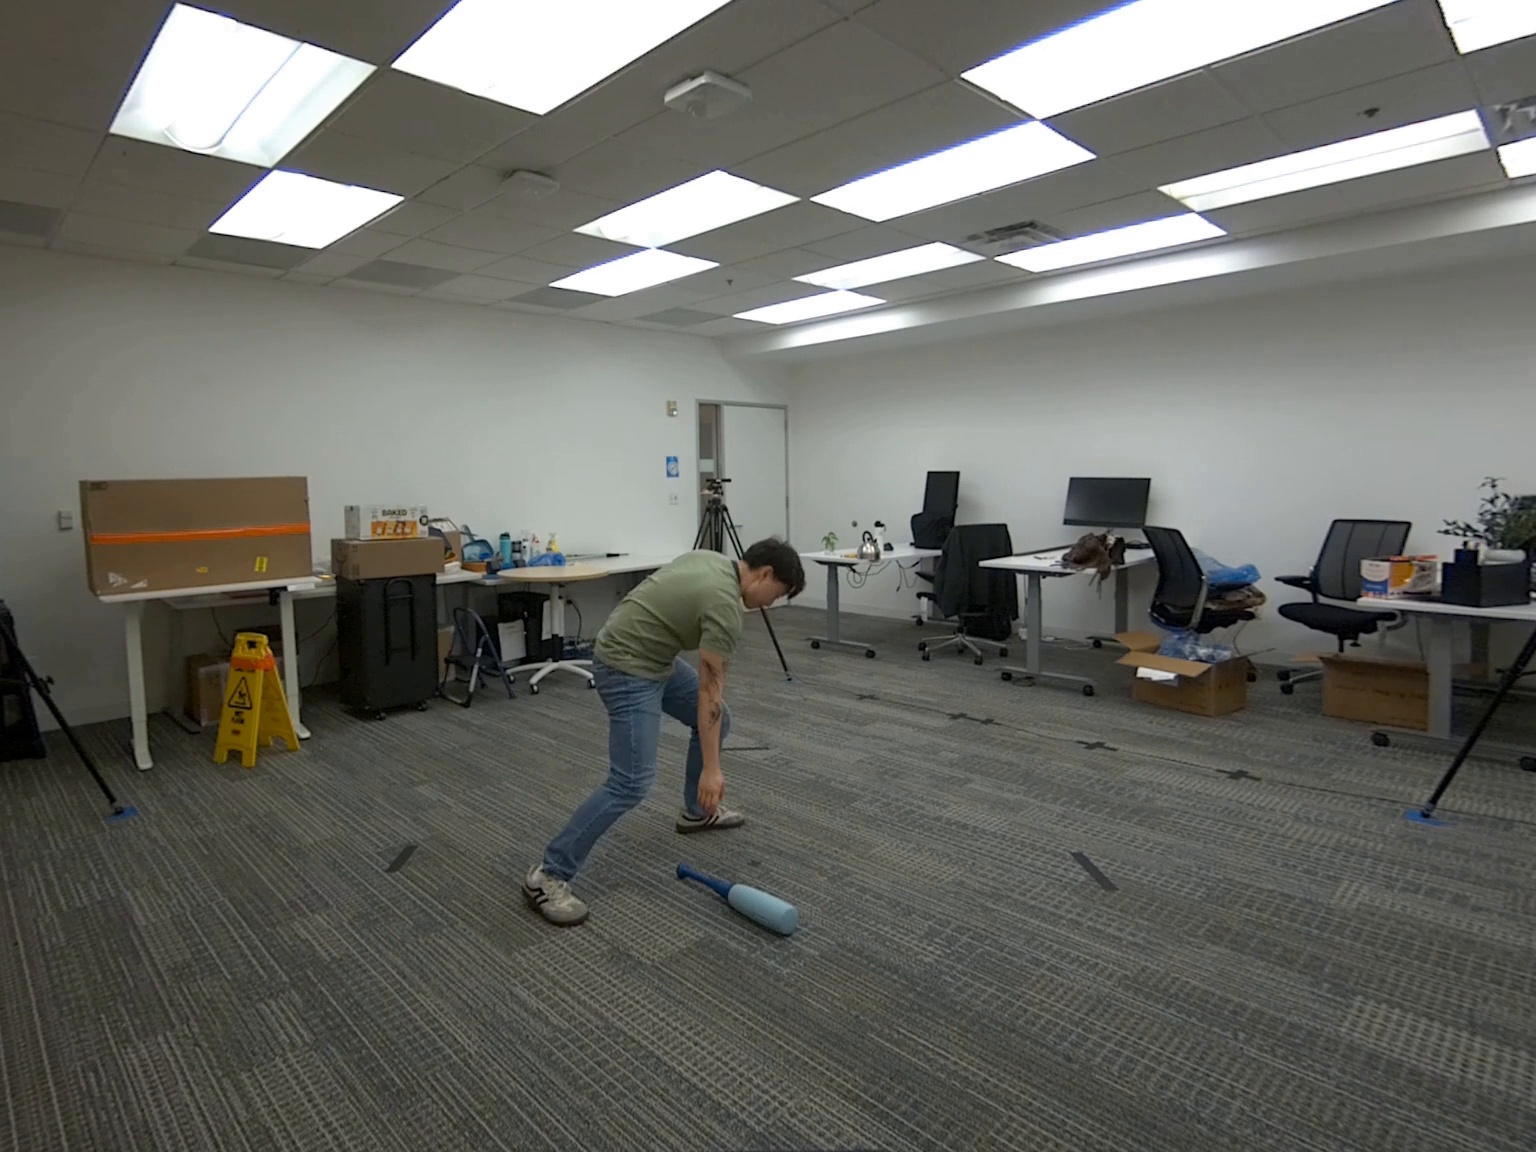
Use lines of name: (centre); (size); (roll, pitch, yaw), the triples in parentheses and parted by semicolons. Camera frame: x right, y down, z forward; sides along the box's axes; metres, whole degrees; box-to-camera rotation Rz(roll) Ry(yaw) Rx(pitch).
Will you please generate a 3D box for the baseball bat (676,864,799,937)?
baseball bat: (-0.116, 1.043, 2.803); (0.087, 0.089, 0.559); (-5, 5, -42)
